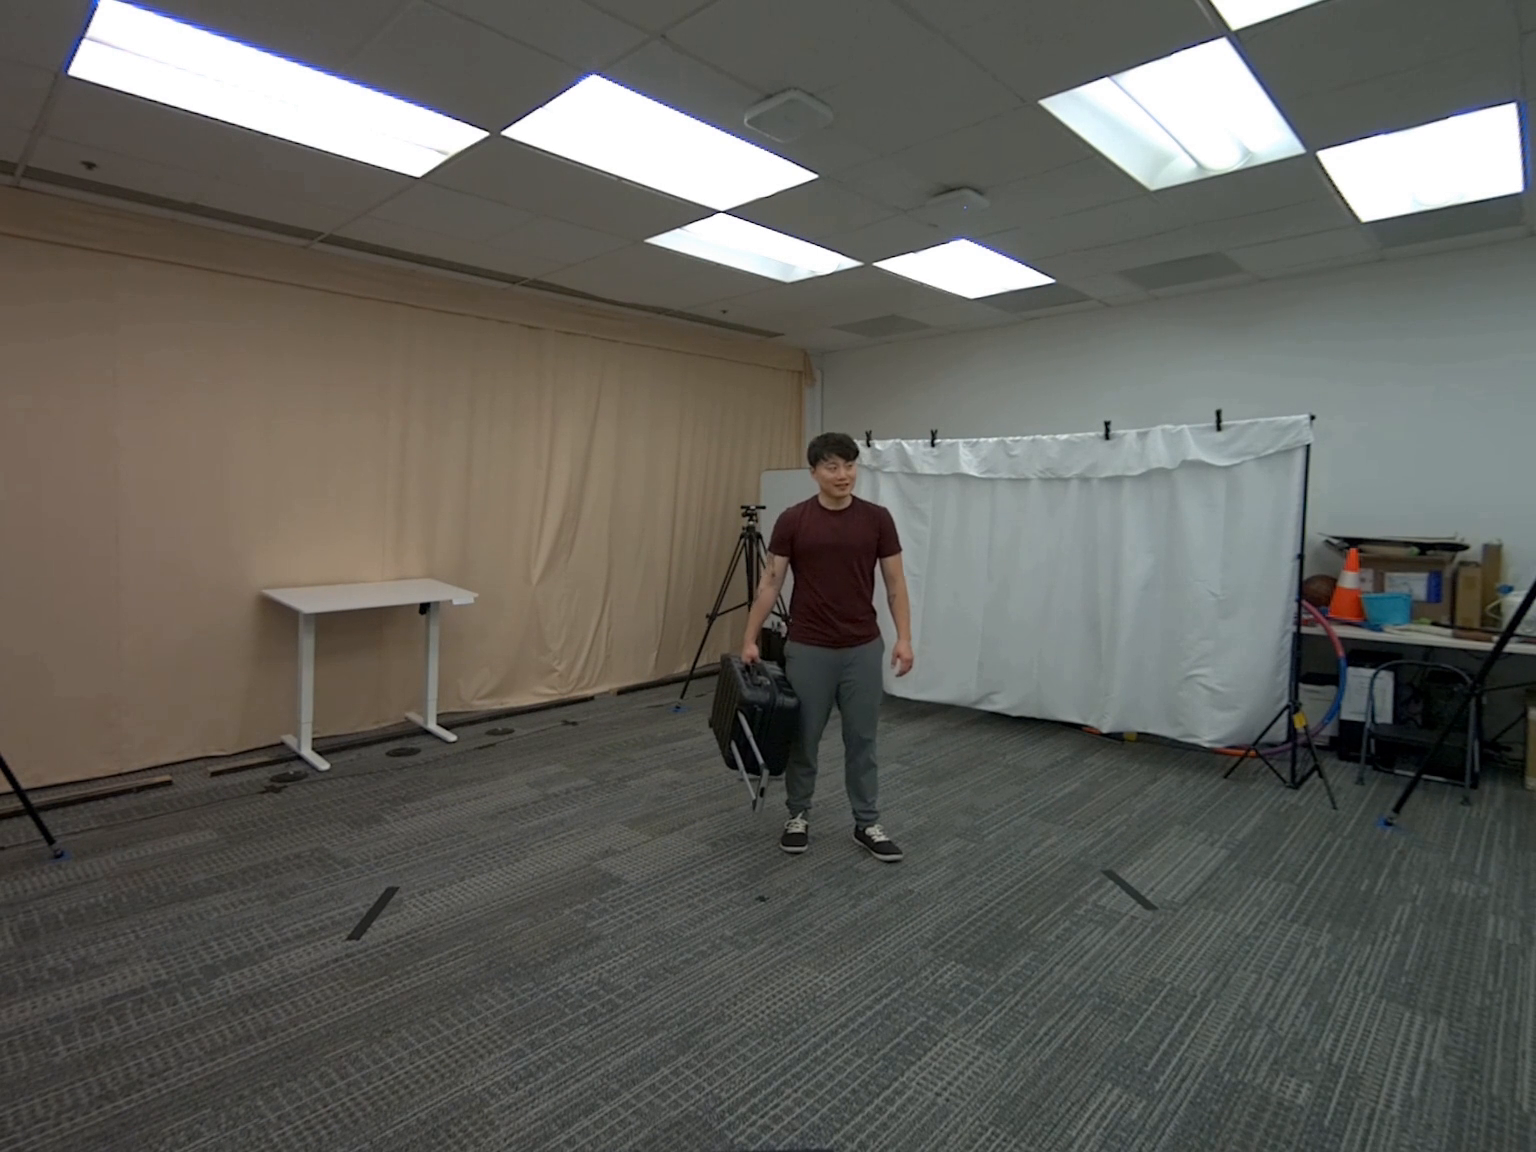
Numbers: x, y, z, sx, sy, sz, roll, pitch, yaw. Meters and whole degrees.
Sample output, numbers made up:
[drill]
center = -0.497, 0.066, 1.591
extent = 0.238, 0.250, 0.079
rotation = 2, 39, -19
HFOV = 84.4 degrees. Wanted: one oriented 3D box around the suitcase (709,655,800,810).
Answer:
[suitcase]
center = -0.023, 0.600, 3.254
extent = 0.253, 0.382, 0.996
rotation = 10, 10, -14
